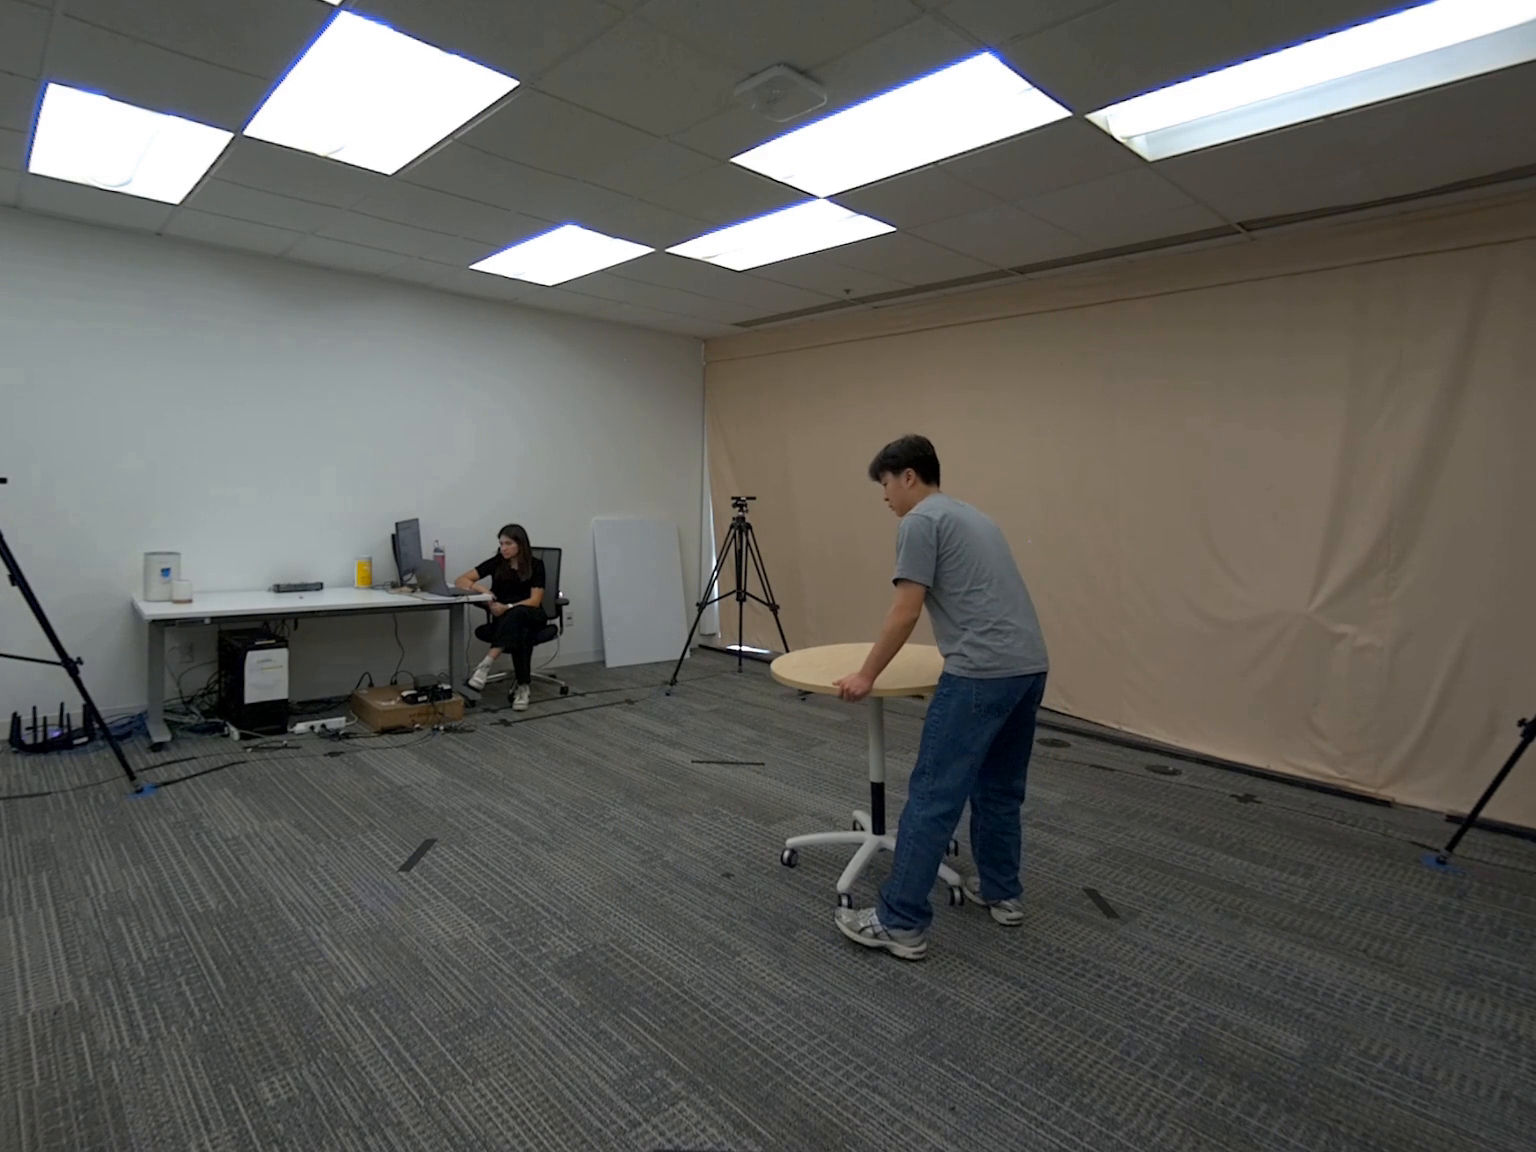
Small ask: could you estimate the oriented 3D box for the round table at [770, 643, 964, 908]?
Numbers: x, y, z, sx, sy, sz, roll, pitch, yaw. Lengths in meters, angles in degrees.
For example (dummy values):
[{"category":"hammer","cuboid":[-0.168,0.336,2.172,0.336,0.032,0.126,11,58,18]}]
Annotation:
[{"category":"round table","cuboid":[0.392,0.714,3.117,0.763,0.791,0.767,-2,5,-1]}]
